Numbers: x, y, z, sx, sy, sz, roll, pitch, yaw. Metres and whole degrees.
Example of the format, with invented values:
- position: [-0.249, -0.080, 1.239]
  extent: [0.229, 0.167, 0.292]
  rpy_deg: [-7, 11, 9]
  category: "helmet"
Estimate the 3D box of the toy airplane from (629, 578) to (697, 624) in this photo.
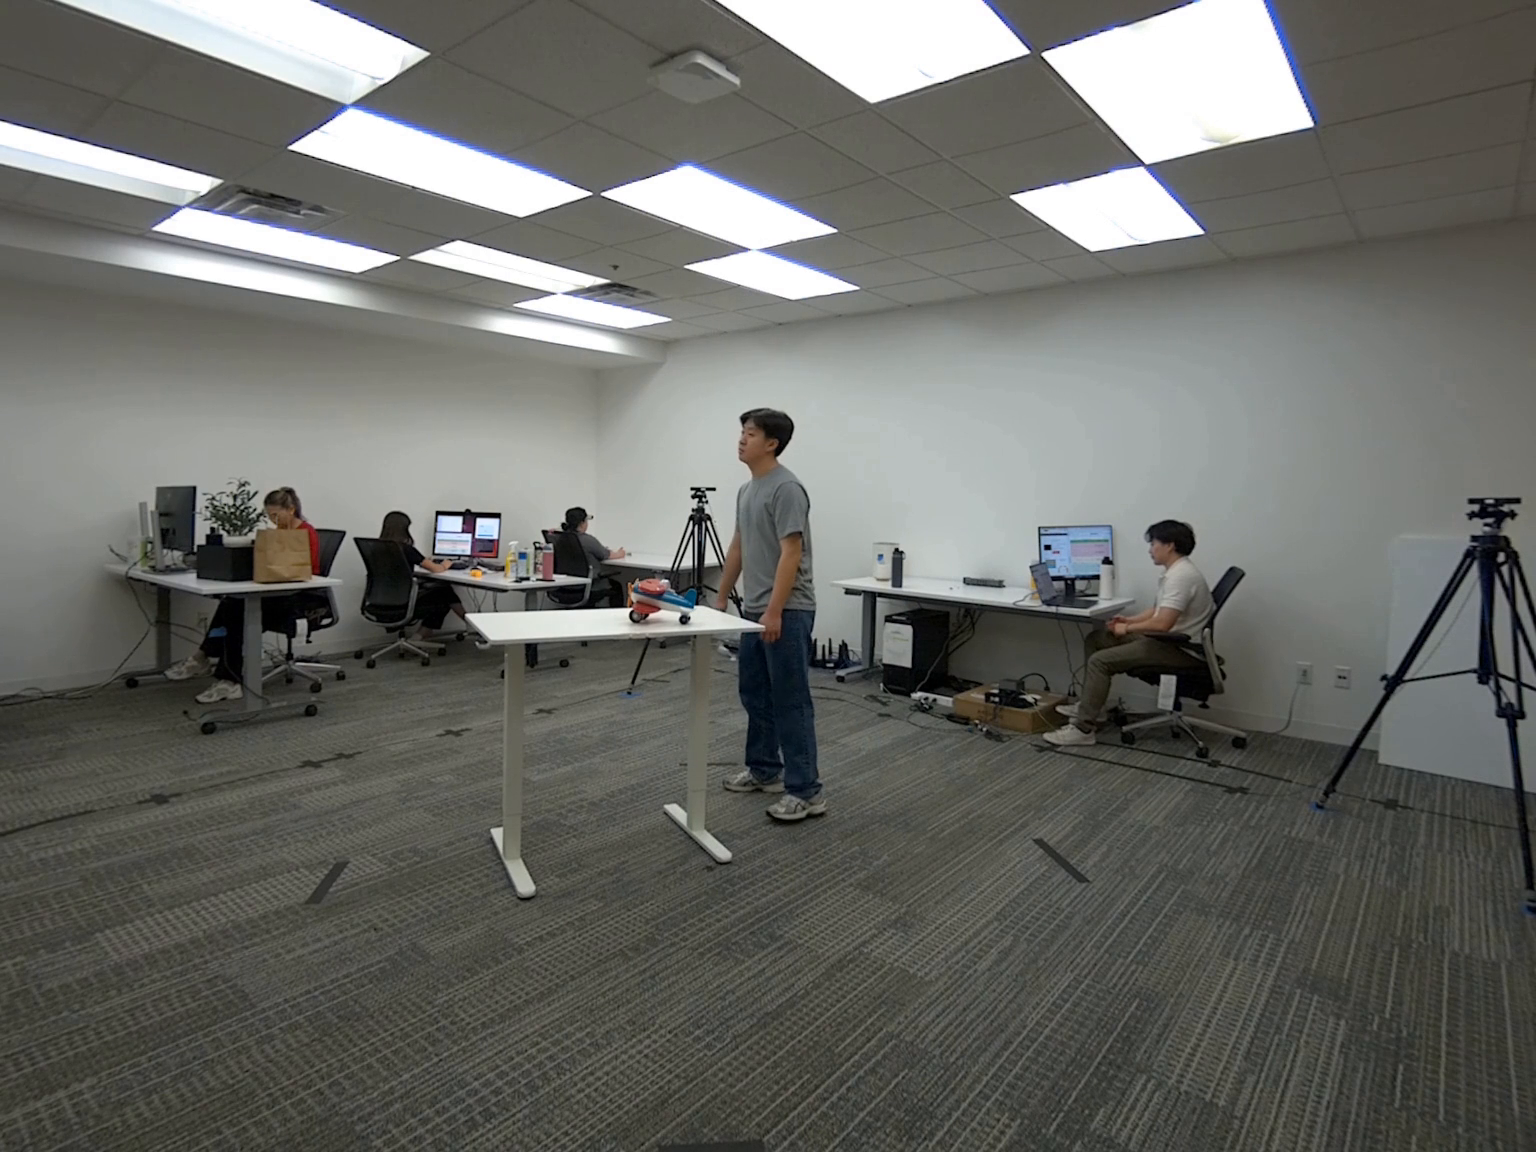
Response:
- position: [-0.413, 0.091, 3.219]
  extent: [0.254, 0.156, 0.258]
  rpy_deg: [-2, 6, -22]
  category: "toy airplane"
